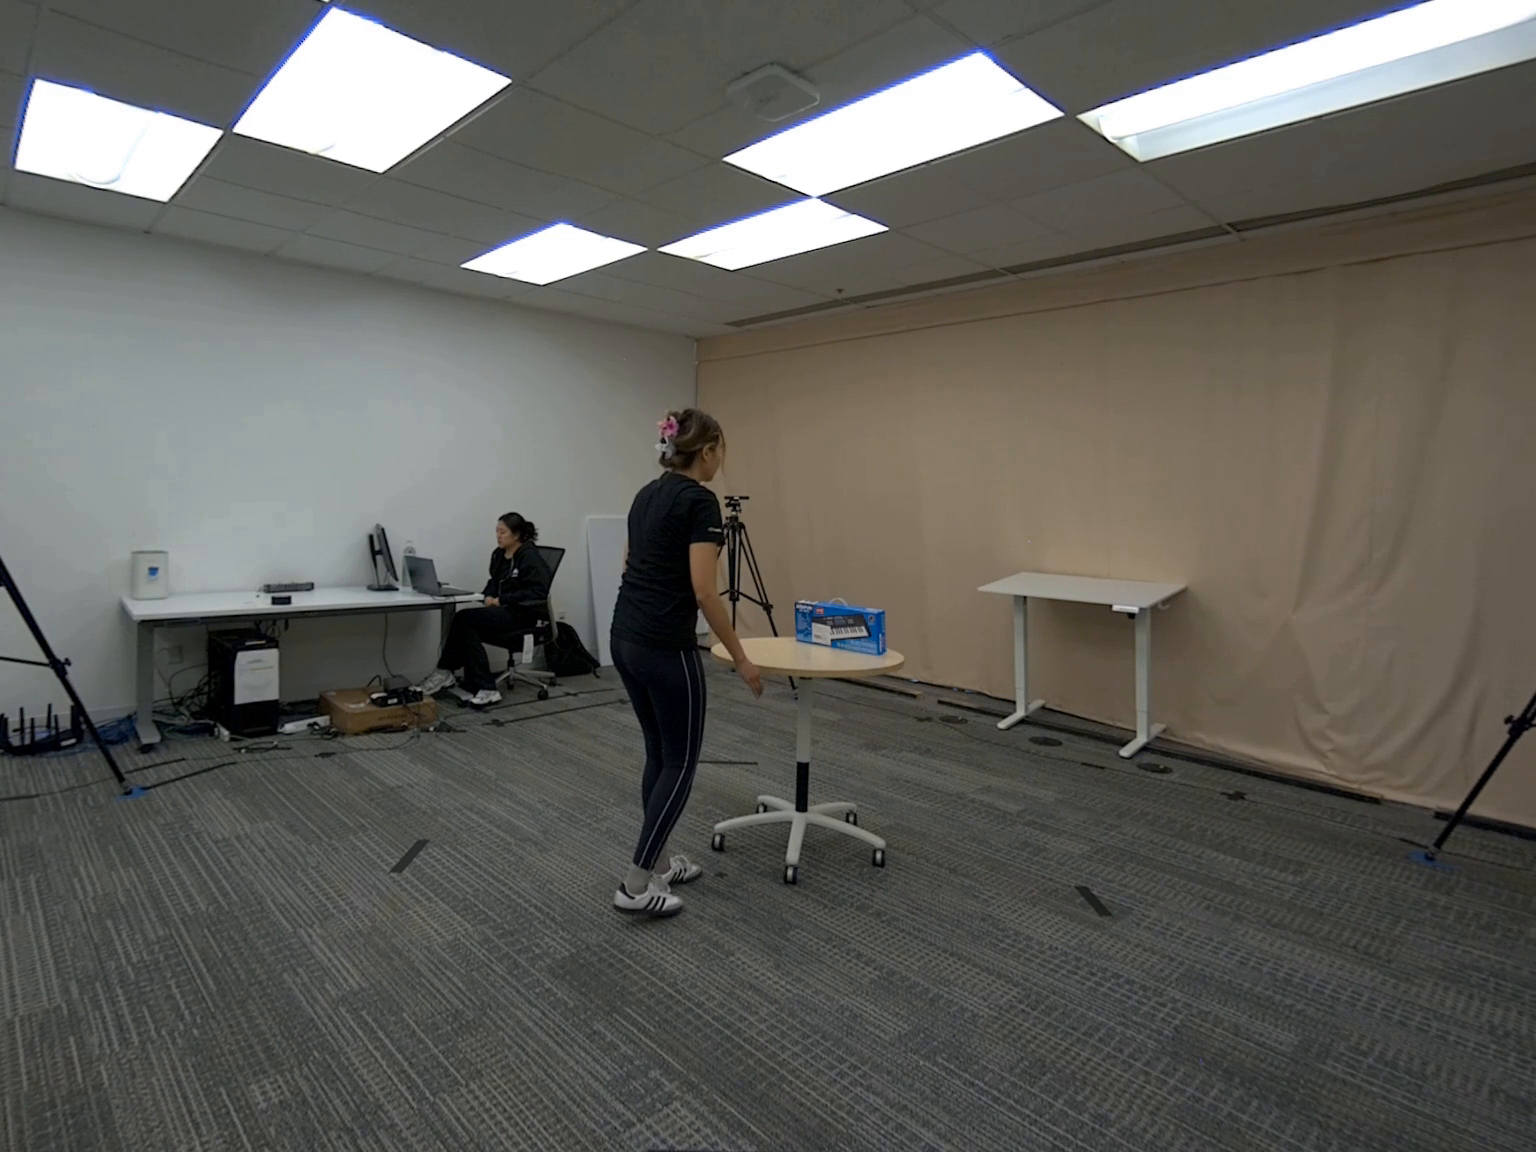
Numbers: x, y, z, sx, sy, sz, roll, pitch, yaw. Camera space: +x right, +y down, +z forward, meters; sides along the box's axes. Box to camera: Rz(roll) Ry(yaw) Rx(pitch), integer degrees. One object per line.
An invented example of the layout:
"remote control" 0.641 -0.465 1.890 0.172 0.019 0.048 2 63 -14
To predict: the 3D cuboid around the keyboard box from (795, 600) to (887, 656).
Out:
"keyboard box" 0.288 0.211 3.500 0.058 0.175 0.448 -8 10 -44
